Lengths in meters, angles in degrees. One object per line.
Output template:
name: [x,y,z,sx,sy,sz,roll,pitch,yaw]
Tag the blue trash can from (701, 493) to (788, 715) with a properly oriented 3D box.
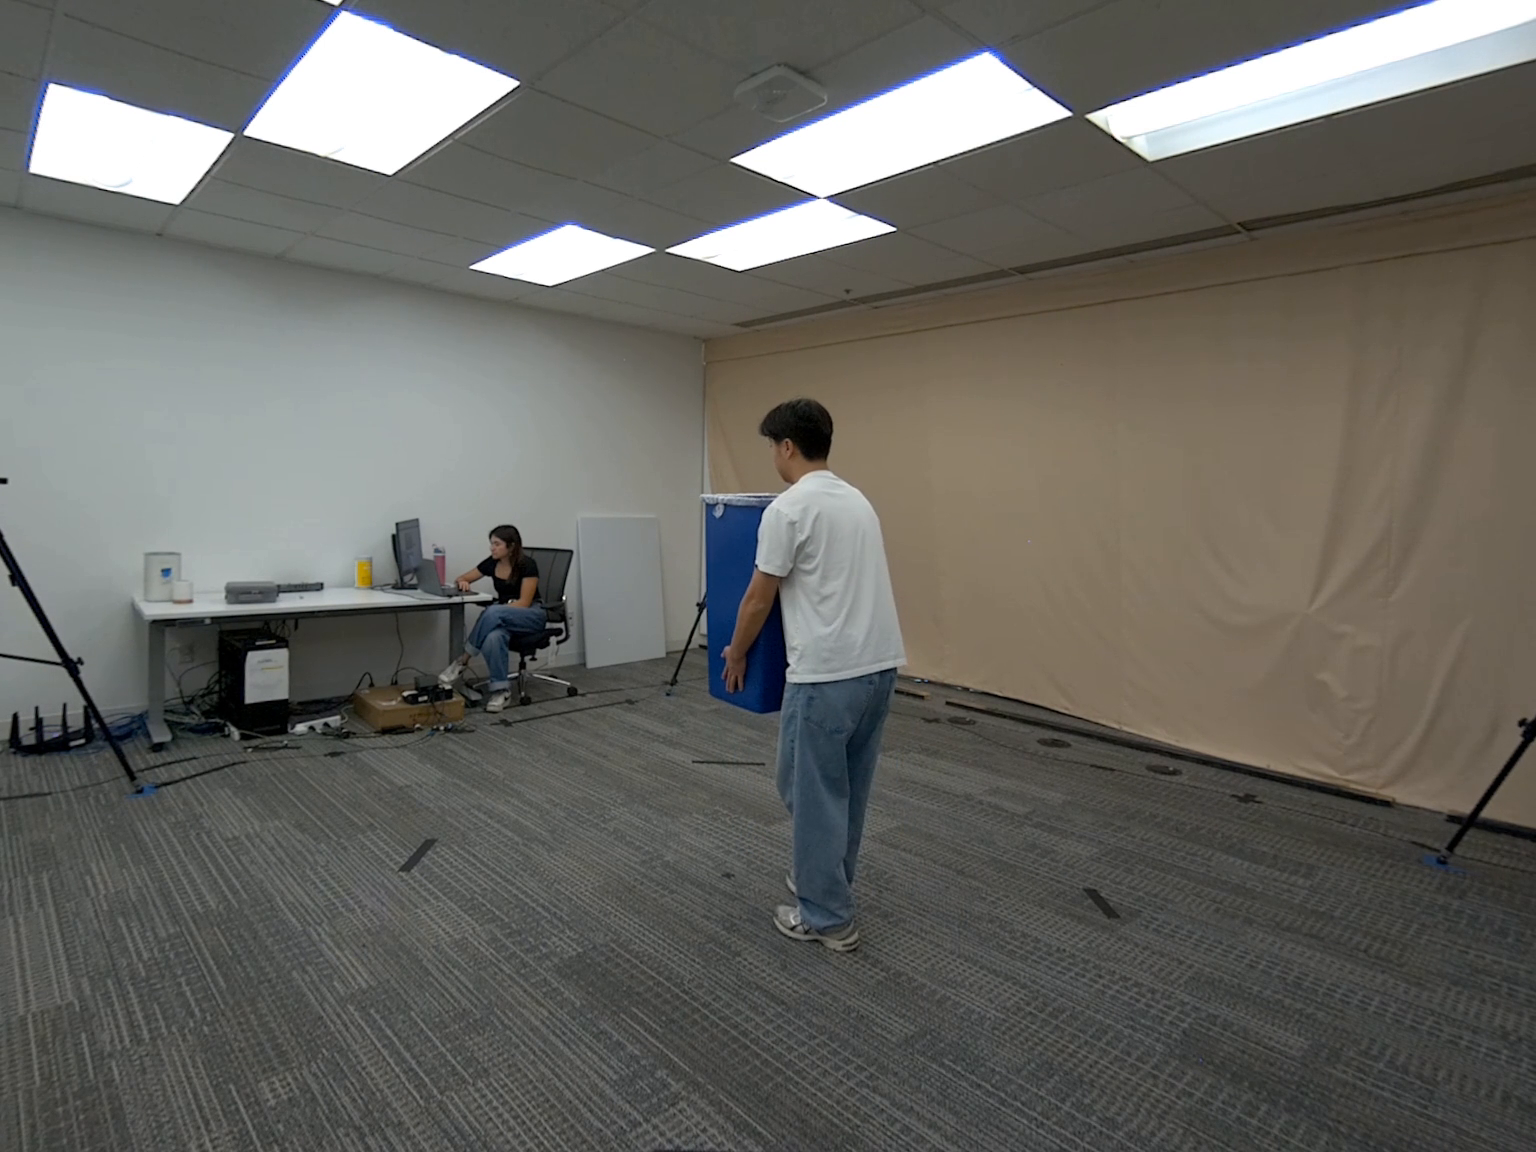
blue trash can: [-0.008,0.077,2.966,0.366,0.710,0.388,-5,9,-38]
